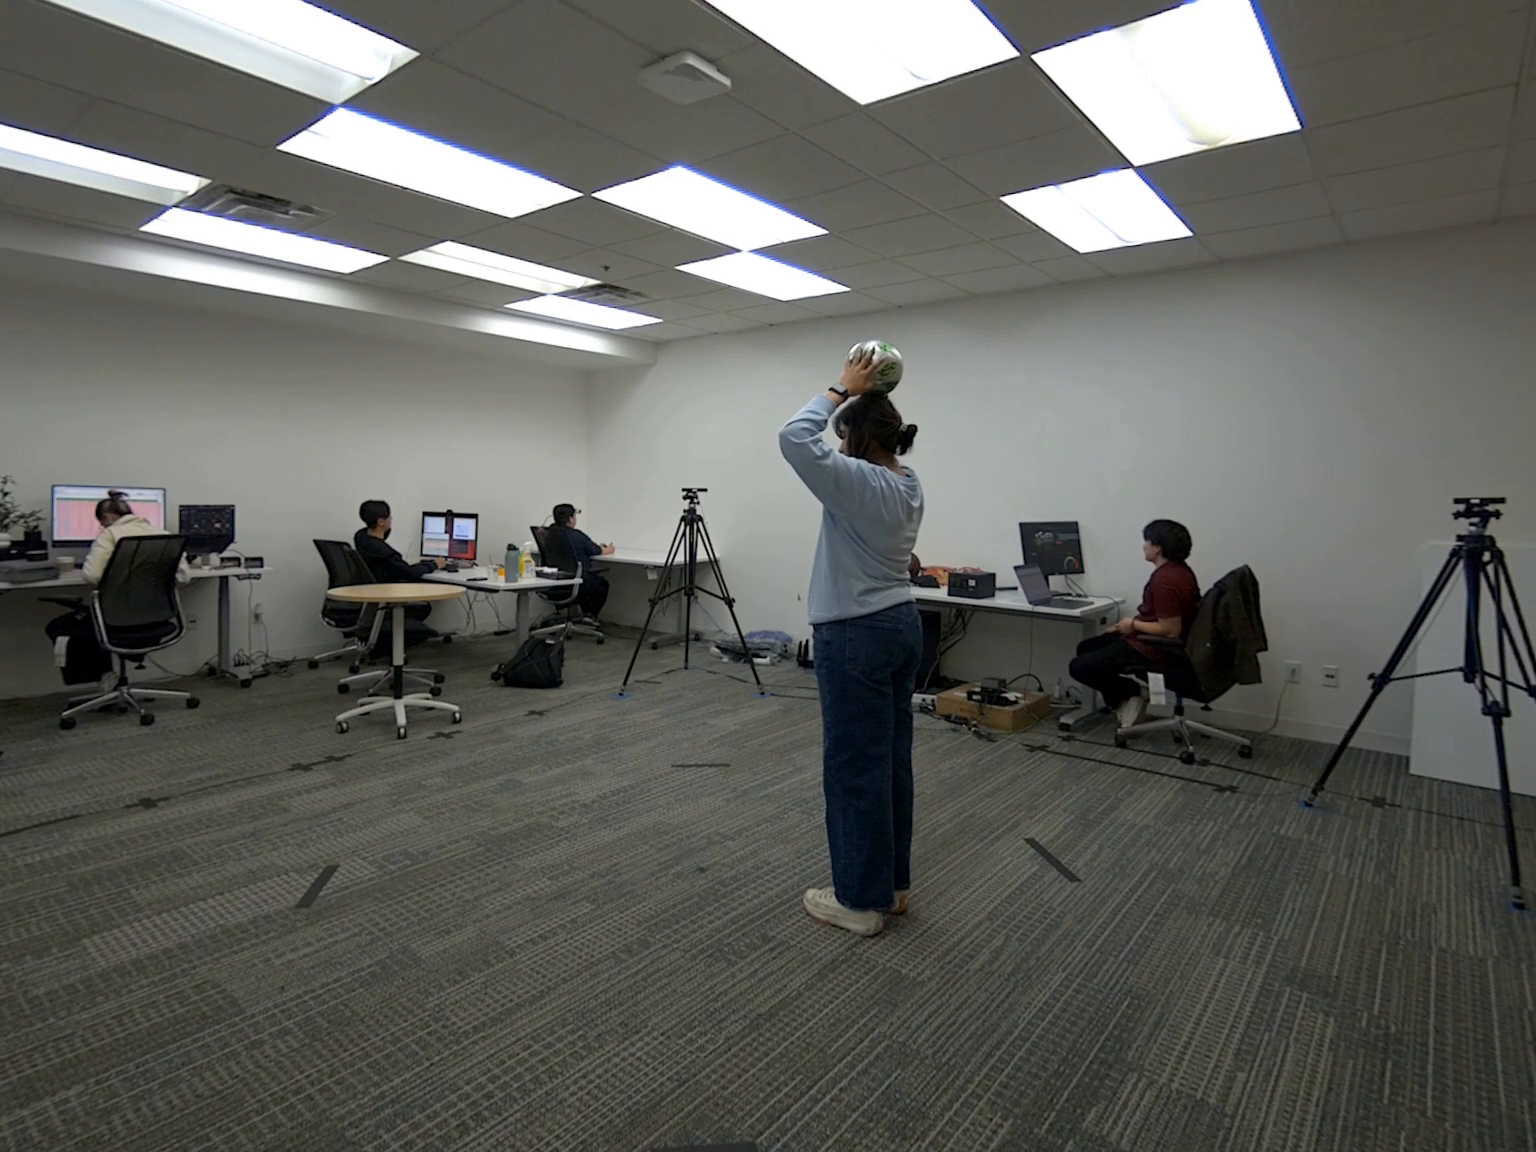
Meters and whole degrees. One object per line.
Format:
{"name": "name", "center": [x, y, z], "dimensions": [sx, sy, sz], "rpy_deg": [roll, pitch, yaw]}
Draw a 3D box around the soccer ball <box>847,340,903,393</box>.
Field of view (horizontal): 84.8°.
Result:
{"name": "soccer ball", "center": [0.338, -0.671, 2.754], "dimensions": [0.187, 0.187, 0.188], "rpy_deg": [1, 4, -2]}
